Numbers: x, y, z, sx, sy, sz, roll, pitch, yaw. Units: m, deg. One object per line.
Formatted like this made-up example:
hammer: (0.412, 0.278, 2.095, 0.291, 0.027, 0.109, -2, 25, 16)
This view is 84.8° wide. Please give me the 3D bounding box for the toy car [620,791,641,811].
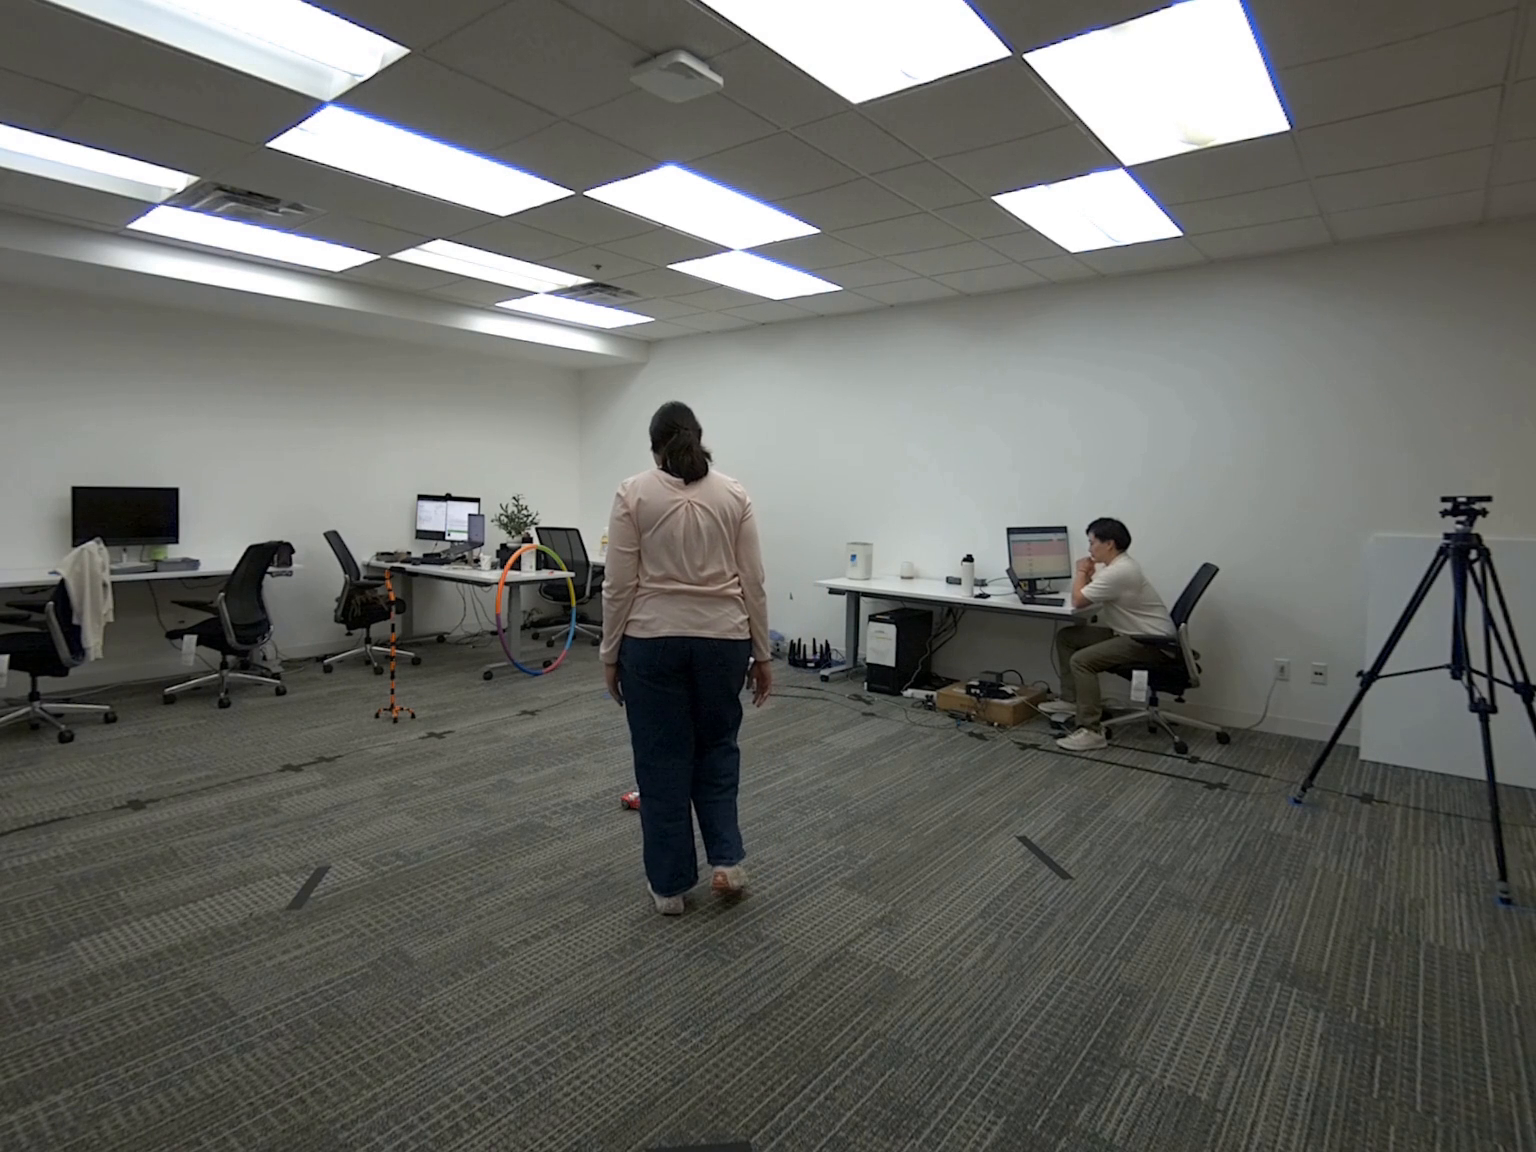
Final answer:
toy car: (-0.519, 0.973, 3.671, 0.260, 0.083, 0.127, -9, -2, 30)
